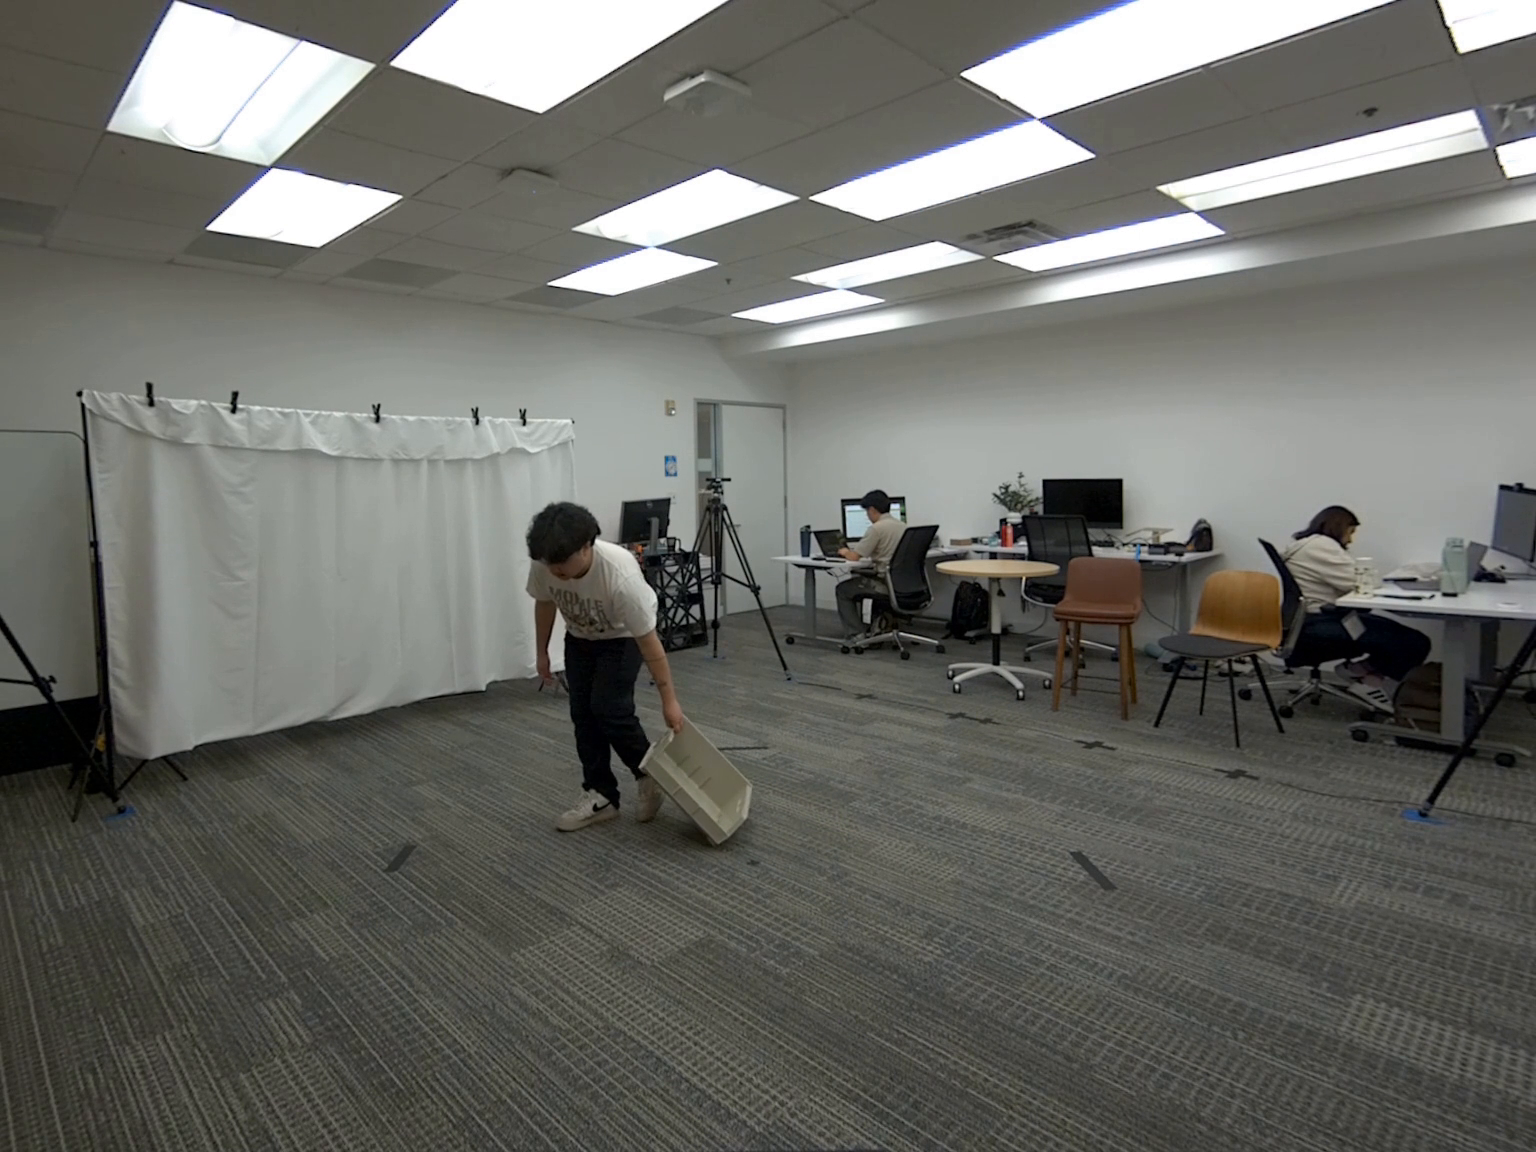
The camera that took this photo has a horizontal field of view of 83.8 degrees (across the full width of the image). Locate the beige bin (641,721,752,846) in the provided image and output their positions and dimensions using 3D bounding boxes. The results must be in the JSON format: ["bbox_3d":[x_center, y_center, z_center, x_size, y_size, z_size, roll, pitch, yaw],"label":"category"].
[{"bbox_3d":[-0.282,0.802,3.383,0.189,0.423,0.377,-45,0,5],"label":"beige bin"}]
